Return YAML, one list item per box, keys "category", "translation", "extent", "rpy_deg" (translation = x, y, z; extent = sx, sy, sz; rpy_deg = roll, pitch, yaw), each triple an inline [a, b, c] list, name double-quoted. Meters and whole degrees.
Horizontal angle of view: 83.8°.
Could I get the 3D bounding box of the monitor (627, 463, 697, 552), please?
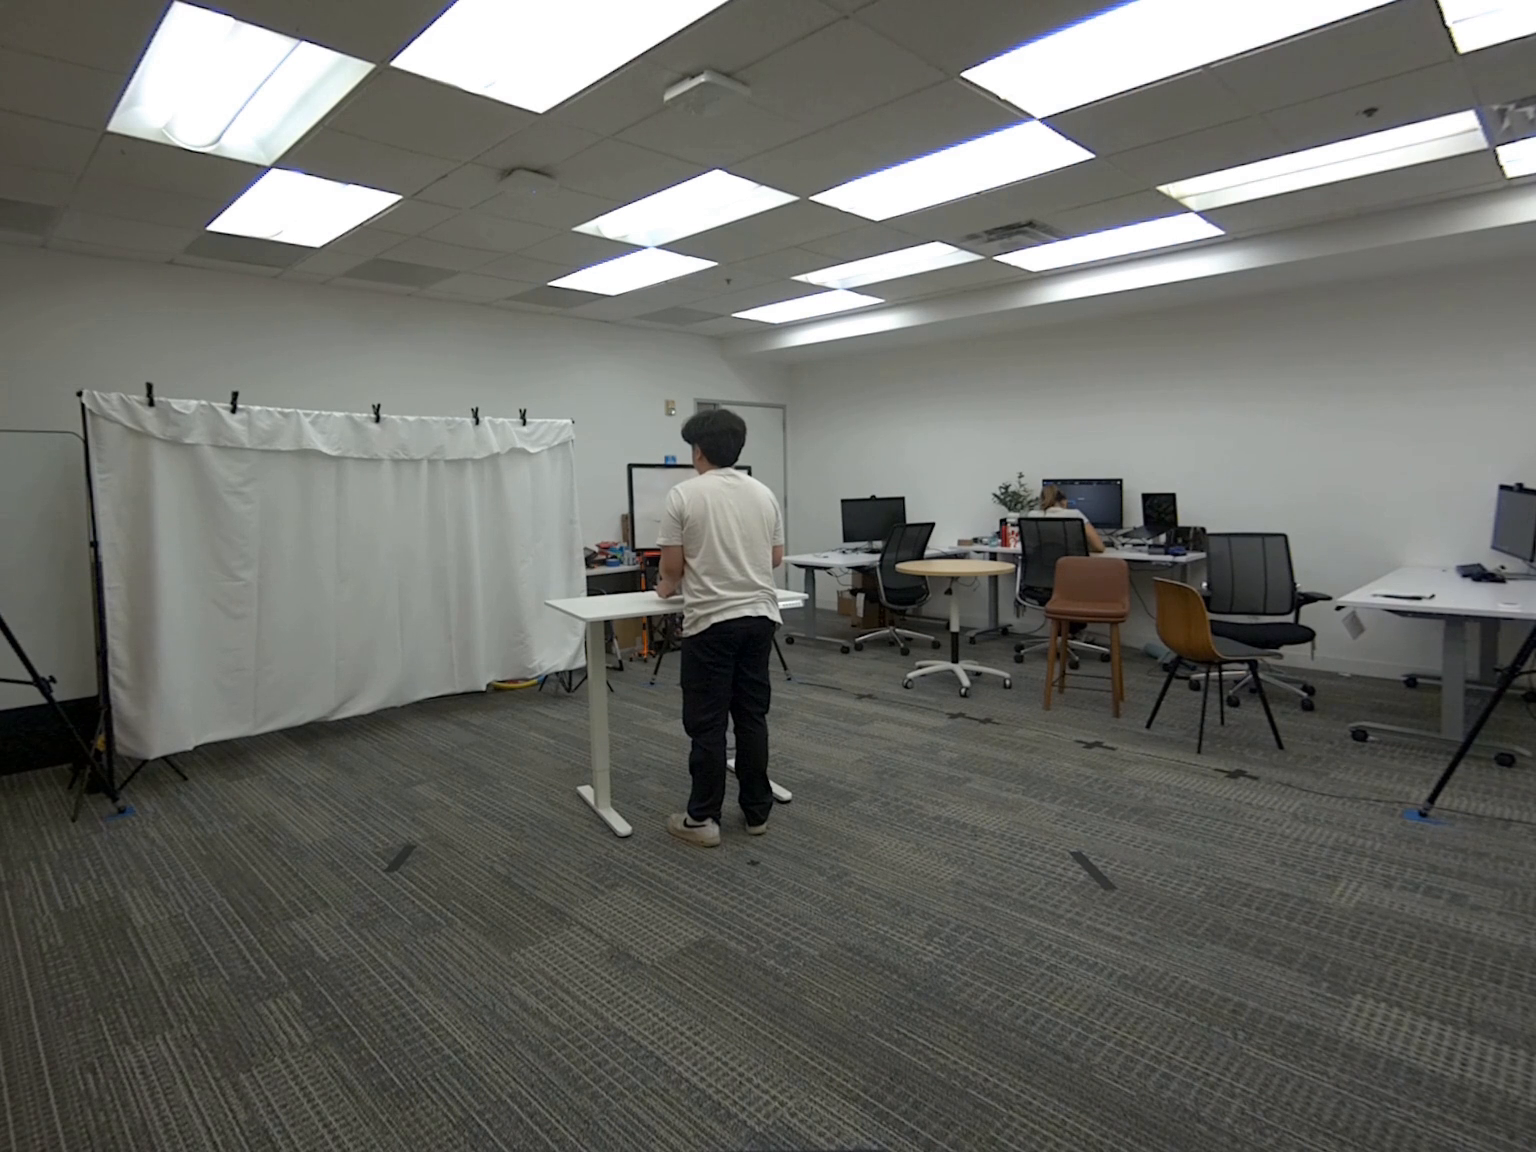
- category: "monitor"
  translation: [-0.343, -0.199, 3.630]
  extent: [0.553, 0.553, 0.215]
  rpy_deg: [-3, 3, -27]
